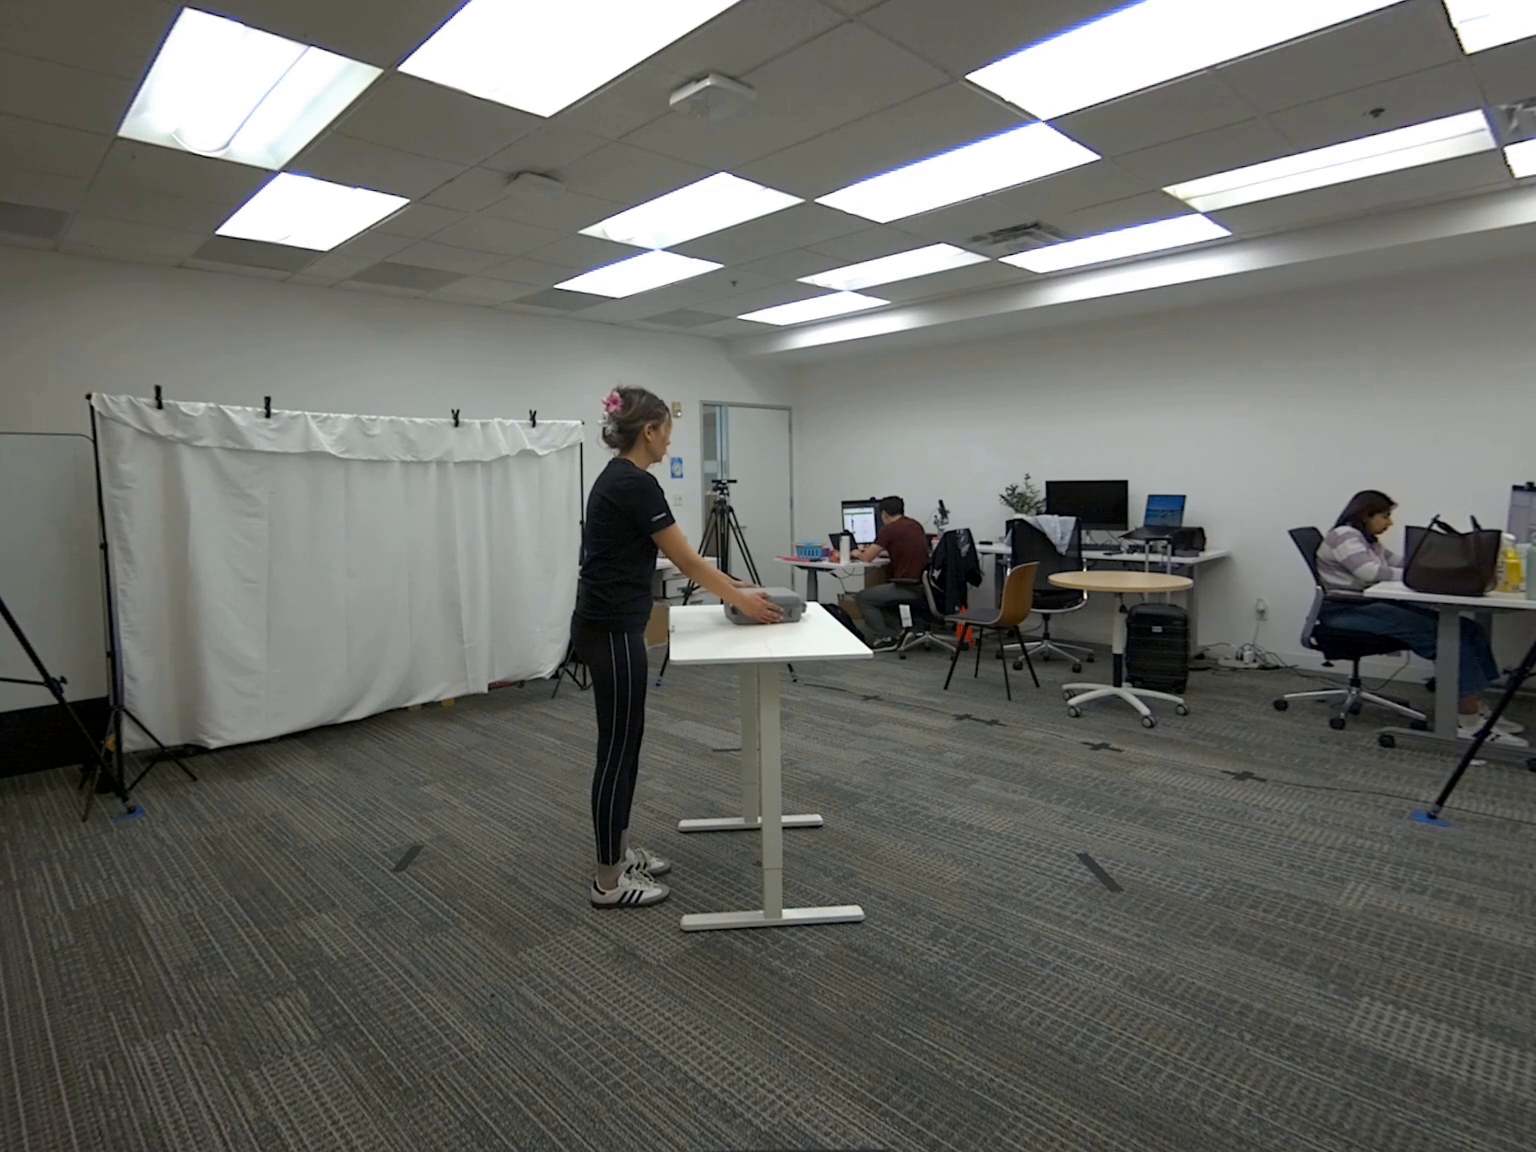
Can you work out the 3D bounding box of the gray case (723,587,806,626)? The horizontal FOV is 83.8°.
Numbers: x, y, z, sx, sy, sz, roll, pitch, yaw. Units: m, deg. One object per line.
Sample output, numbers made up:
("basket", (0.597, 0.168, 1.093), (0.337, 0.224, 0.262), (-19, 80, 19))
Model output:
("gray case", (-0.015, 0.107, 3.154), (0.258, 0.104, 0.260), (-1, 5, -10))
